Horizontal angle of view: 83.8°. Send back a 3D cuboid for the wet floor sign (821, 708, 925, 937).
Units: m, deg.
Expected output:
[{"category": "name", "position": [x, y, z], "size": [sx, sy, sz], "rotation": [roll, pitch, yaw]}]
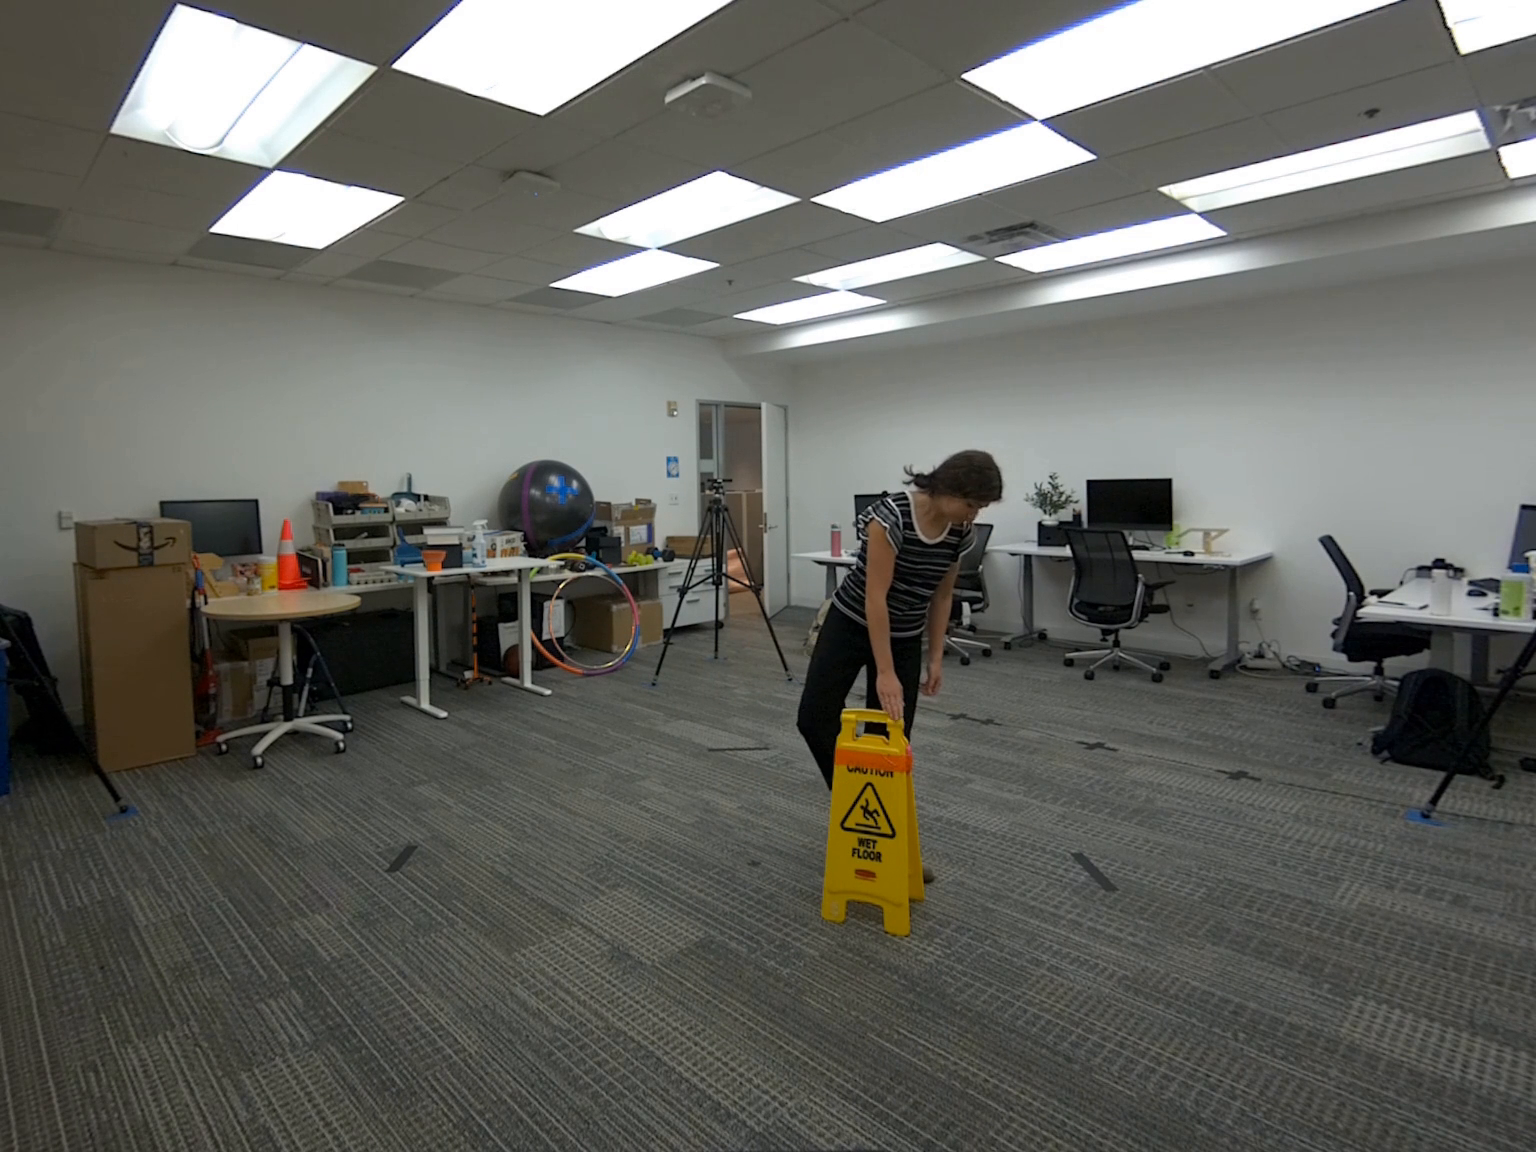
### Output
[{"category": "wet floor sign", "position": [0.342, 0.760, 2.738], "size": [0.288, 0.643, 0.285], "rotation": [0, 5, 22]}]
